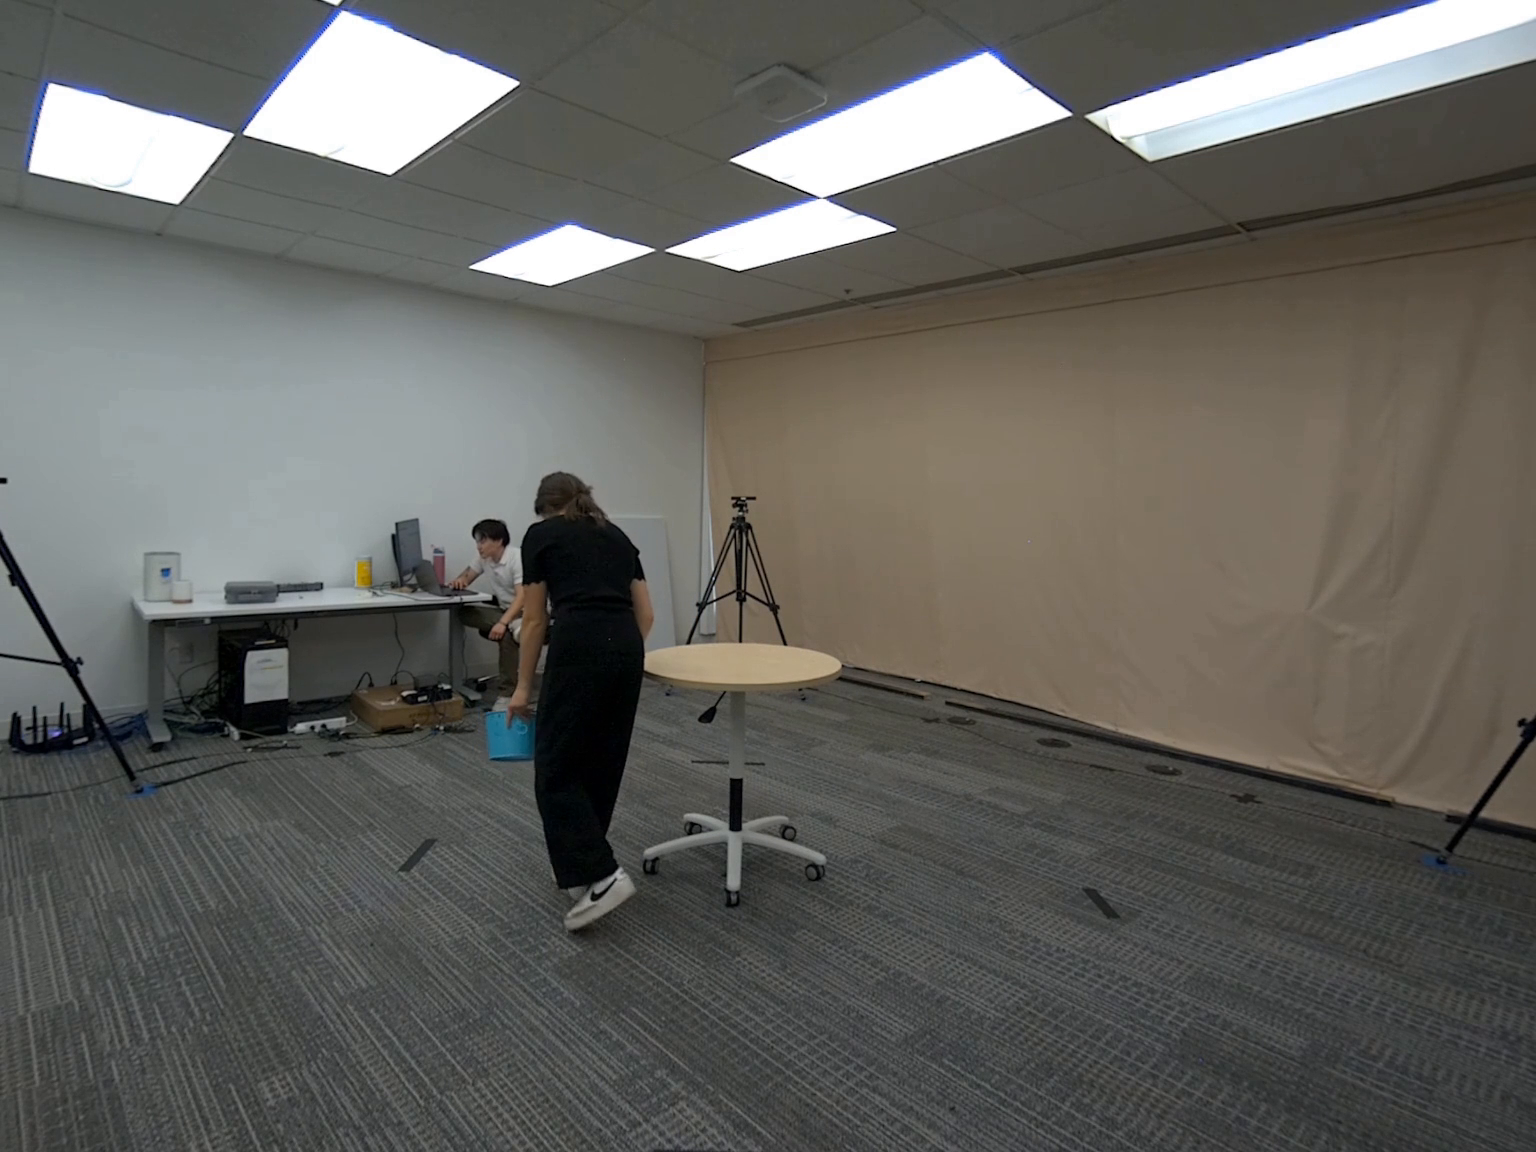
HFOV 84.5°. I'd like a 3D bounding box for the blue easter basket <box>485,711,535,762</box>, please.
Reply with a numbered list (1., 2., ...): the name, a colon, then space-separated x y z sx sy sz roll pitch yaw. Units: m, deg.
1. blue easter basket: -0.893 0.567 2.967 0.243 0.158 0.241 -2 -16 -2
